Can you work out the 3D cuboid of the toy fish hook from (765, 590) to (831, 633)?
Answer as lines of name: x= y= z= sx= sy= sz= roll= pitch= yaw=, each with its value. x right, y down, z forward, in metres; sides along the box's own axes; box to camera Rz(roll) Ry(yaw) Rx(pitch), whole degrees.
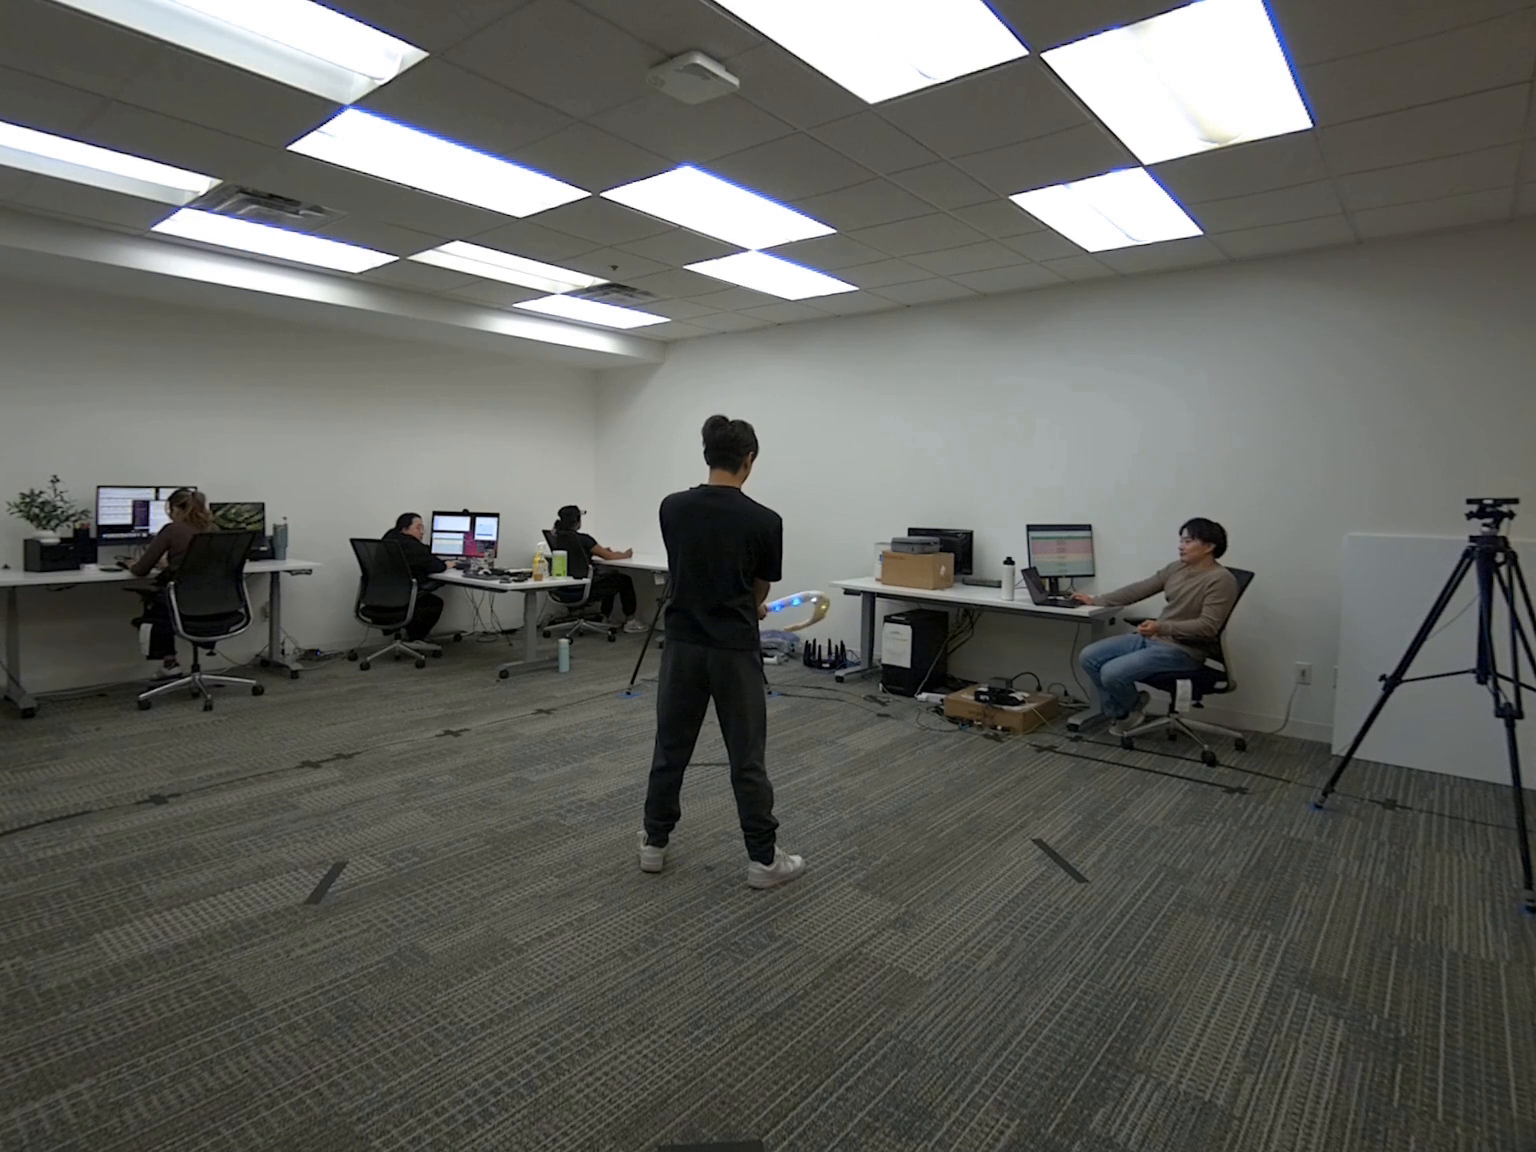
toy fish hook: x=0.013 y=0.168 z=3.550 sx=0.497 sy=0.220 sz=0.050 roll=-7 pitch=37 yaw=-21
